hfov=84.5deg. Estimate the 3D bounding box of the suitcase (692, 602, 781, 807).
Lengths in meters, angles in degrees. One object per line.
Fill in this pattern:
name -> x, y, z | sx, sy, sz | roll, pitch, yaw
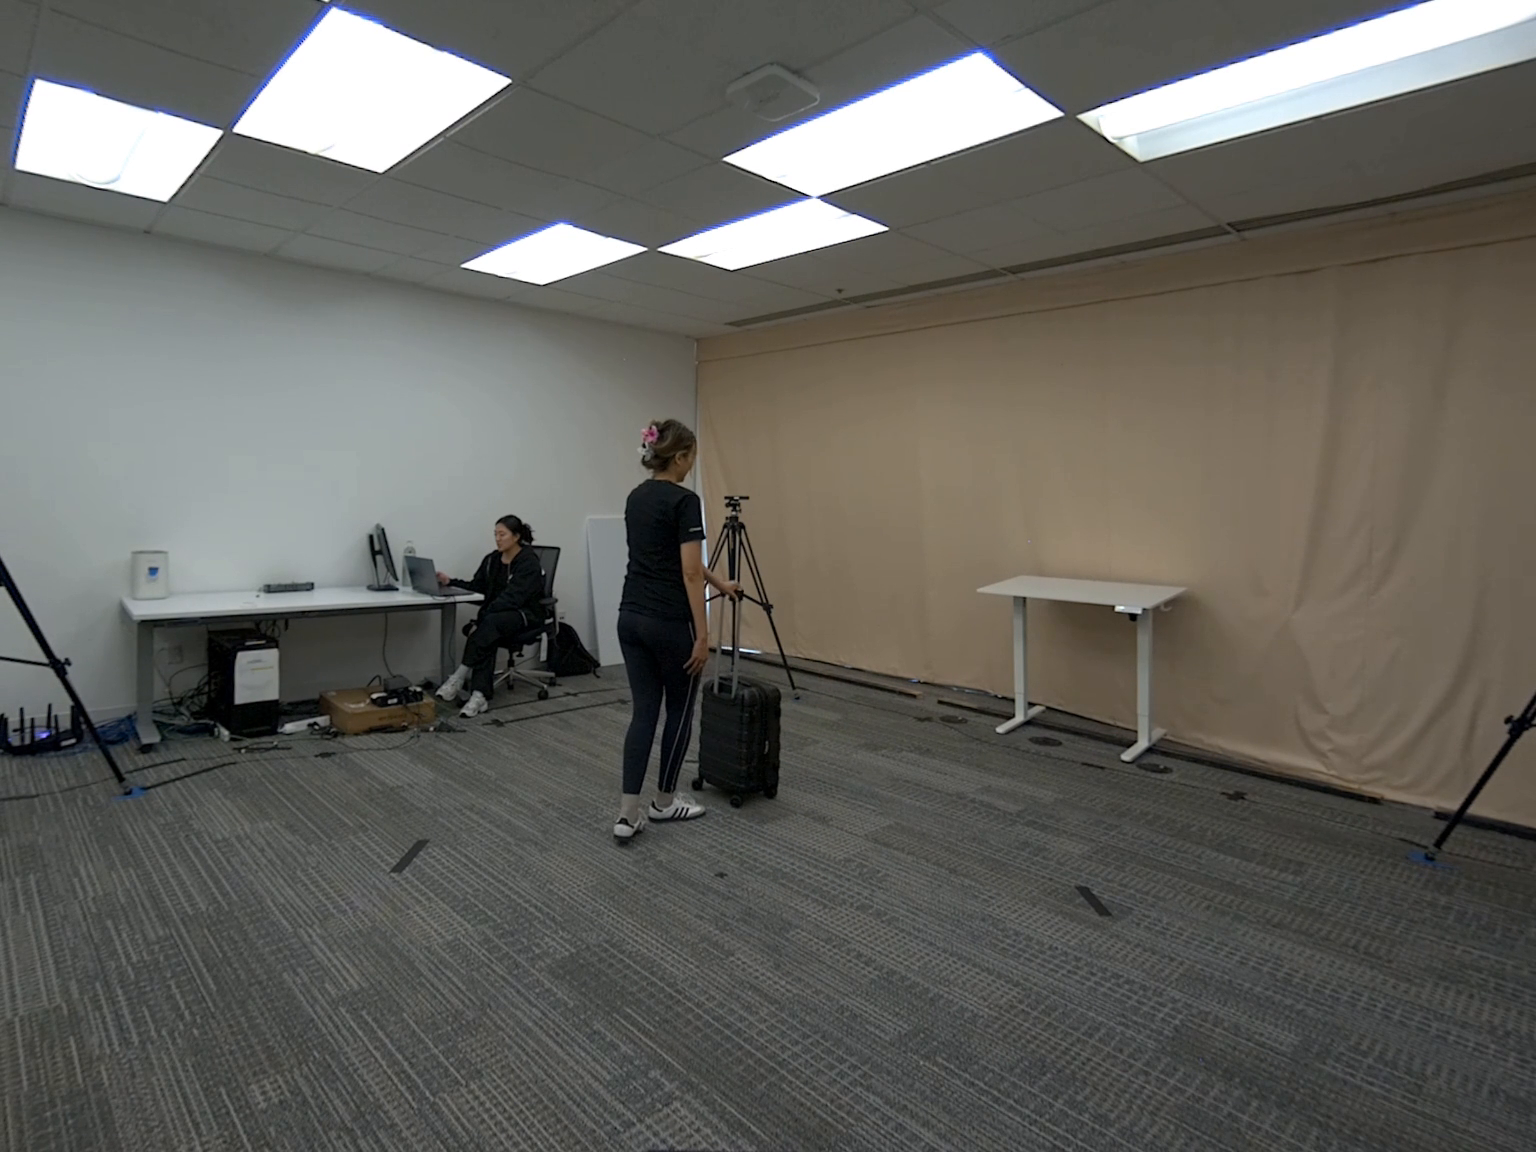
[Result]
suitcase -> -0.125, 0.552, 3.966 | 0.251, 0.977, 0.394 | 3, 2, -43
